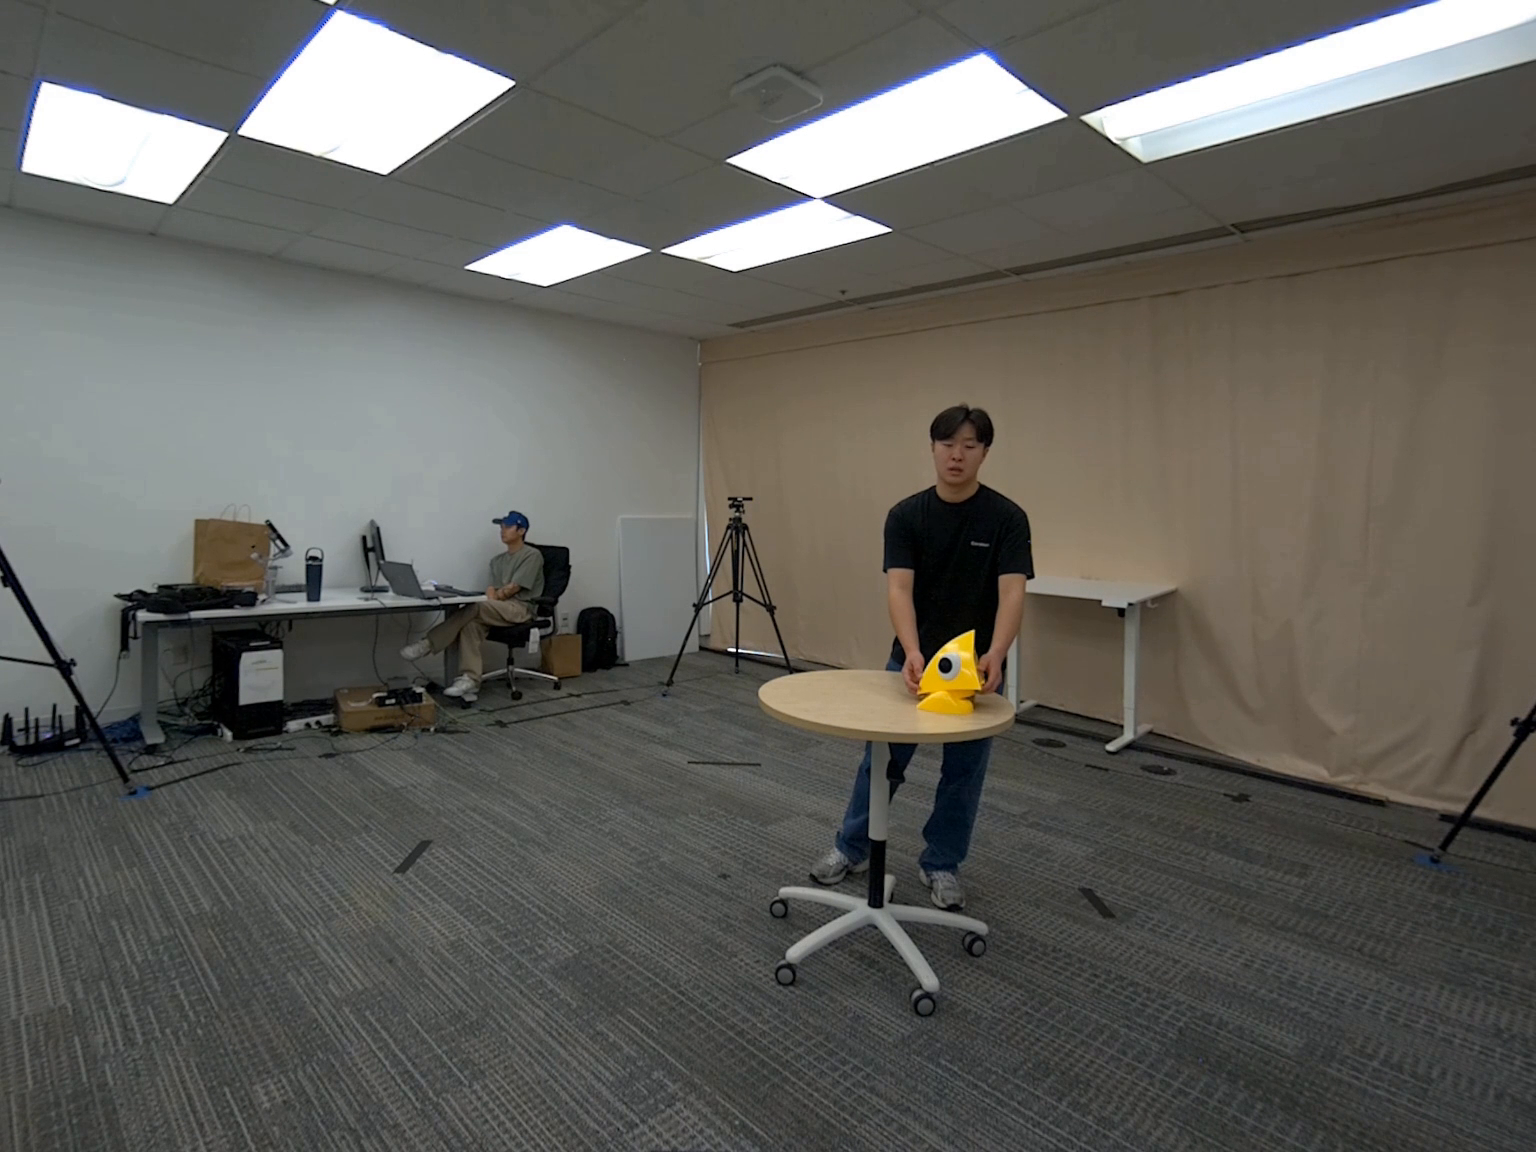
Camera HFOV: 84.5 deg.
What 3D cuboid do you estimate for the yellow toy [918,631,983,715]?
[{"bbox_3d":[0.540,0.273,2.483,0.196,0.230,0.202,3,5,17],"label":"yellow toy"}]
